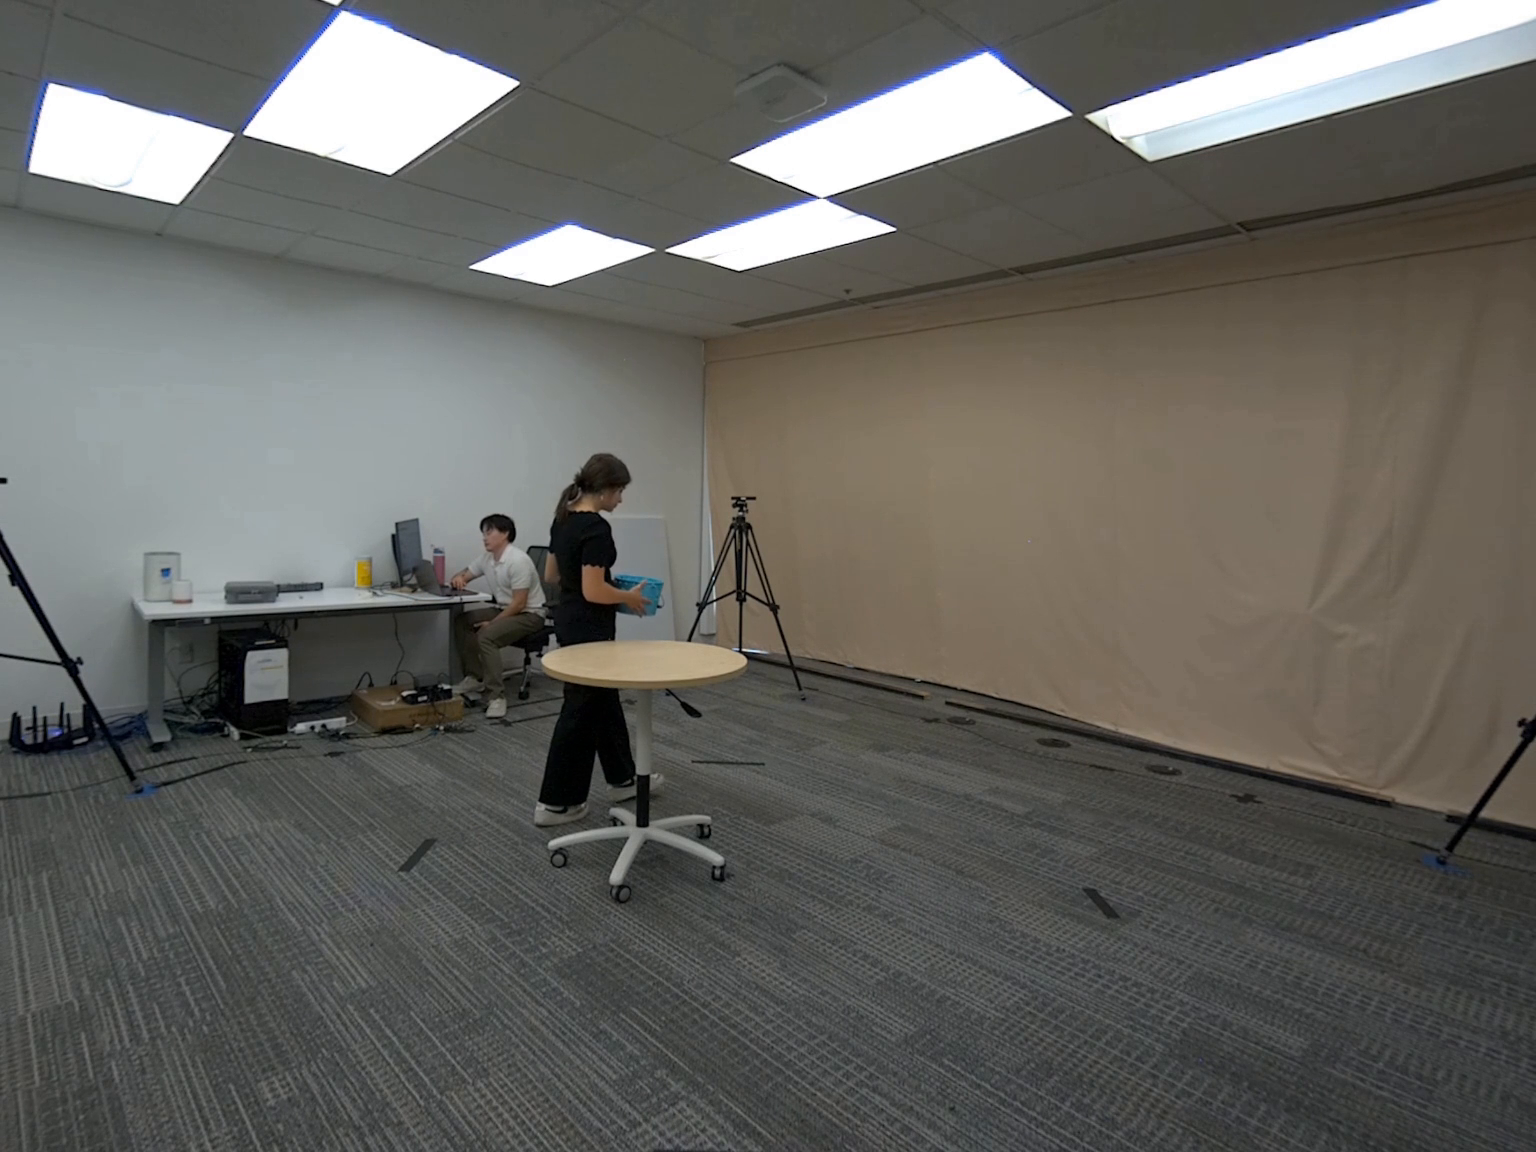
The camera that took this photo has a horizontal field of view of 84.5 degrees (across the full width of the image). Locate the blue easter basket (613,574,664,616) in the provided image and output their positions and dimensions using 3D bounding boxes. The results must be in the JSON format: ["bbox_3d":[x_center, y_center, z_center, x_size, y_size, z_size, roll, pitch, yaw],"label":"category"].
[{"bbox_3d":[-0.593,0.086,3.772,0.243,0.155,0.244,6,4,-2],"label":"blue easter basket"}]
